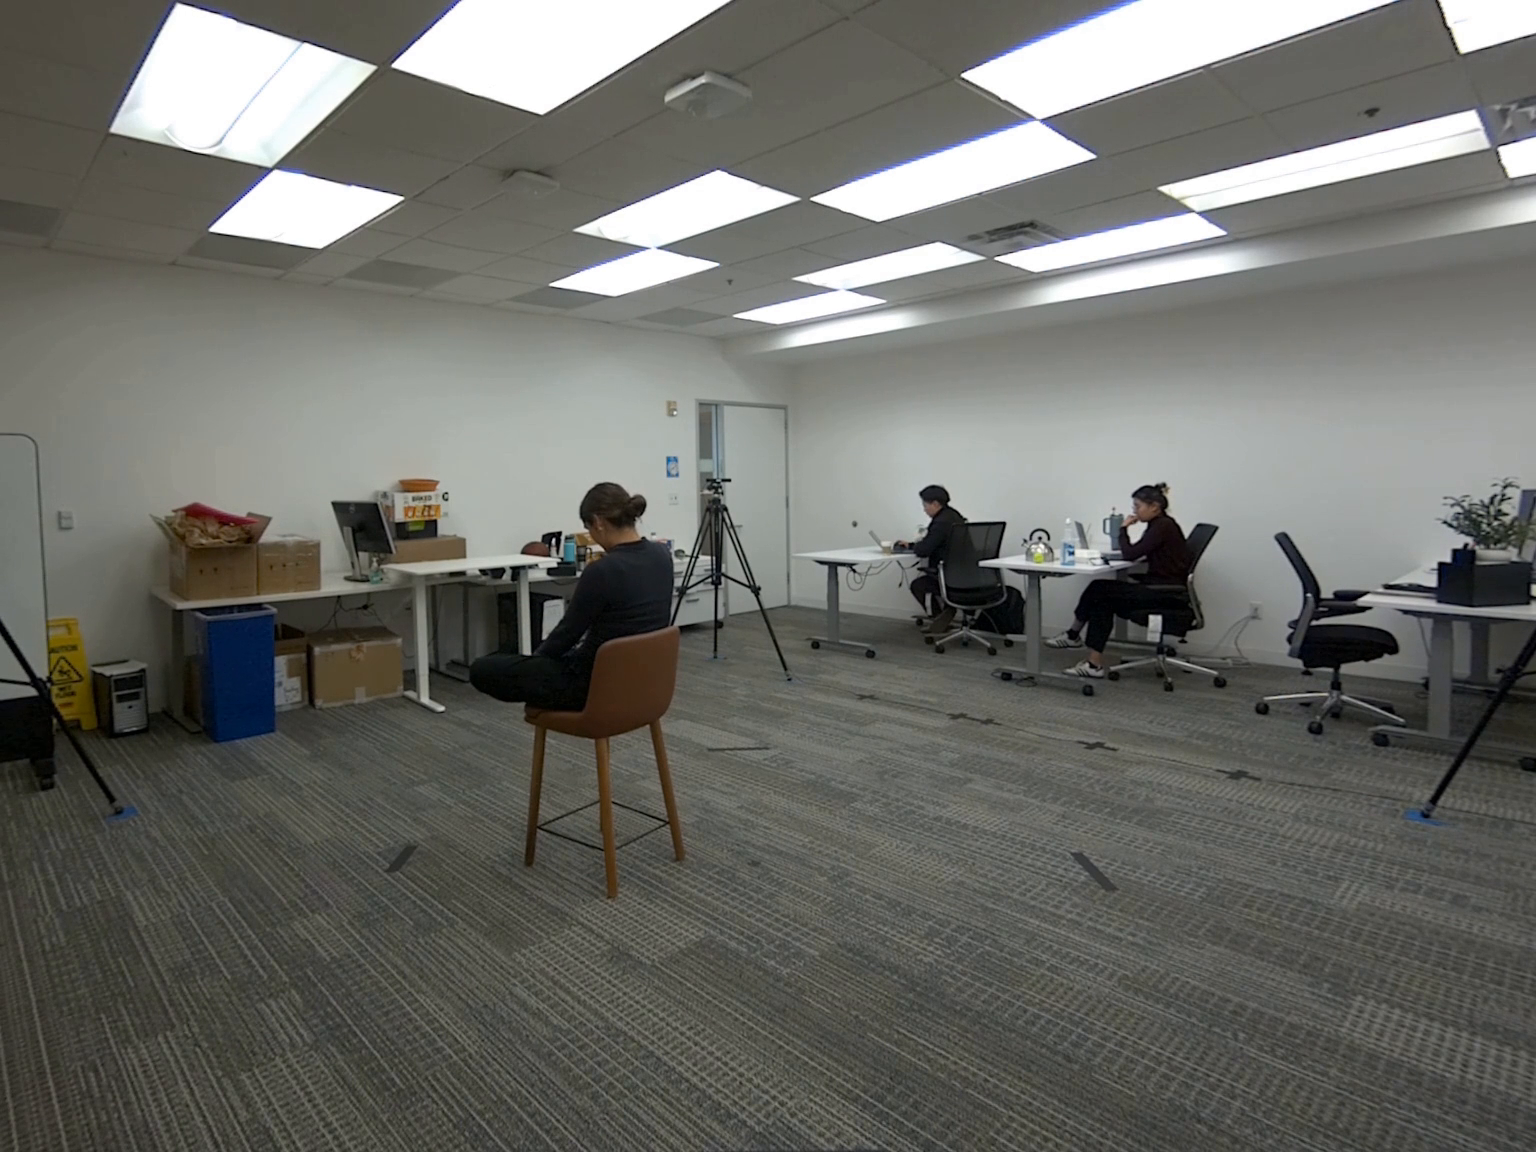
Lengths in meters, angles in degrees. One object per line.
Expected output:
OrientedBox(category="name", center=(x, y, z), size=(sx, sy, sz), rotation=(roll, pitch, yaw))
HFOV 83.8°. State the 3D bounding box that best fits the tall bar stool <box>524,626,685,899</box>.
OrientedBox(category="tall bar stool", center=(-0.595, 0.621, 3.111), size=(0.482, 0.885, 0.445), rotation=(4, 7, 37))
